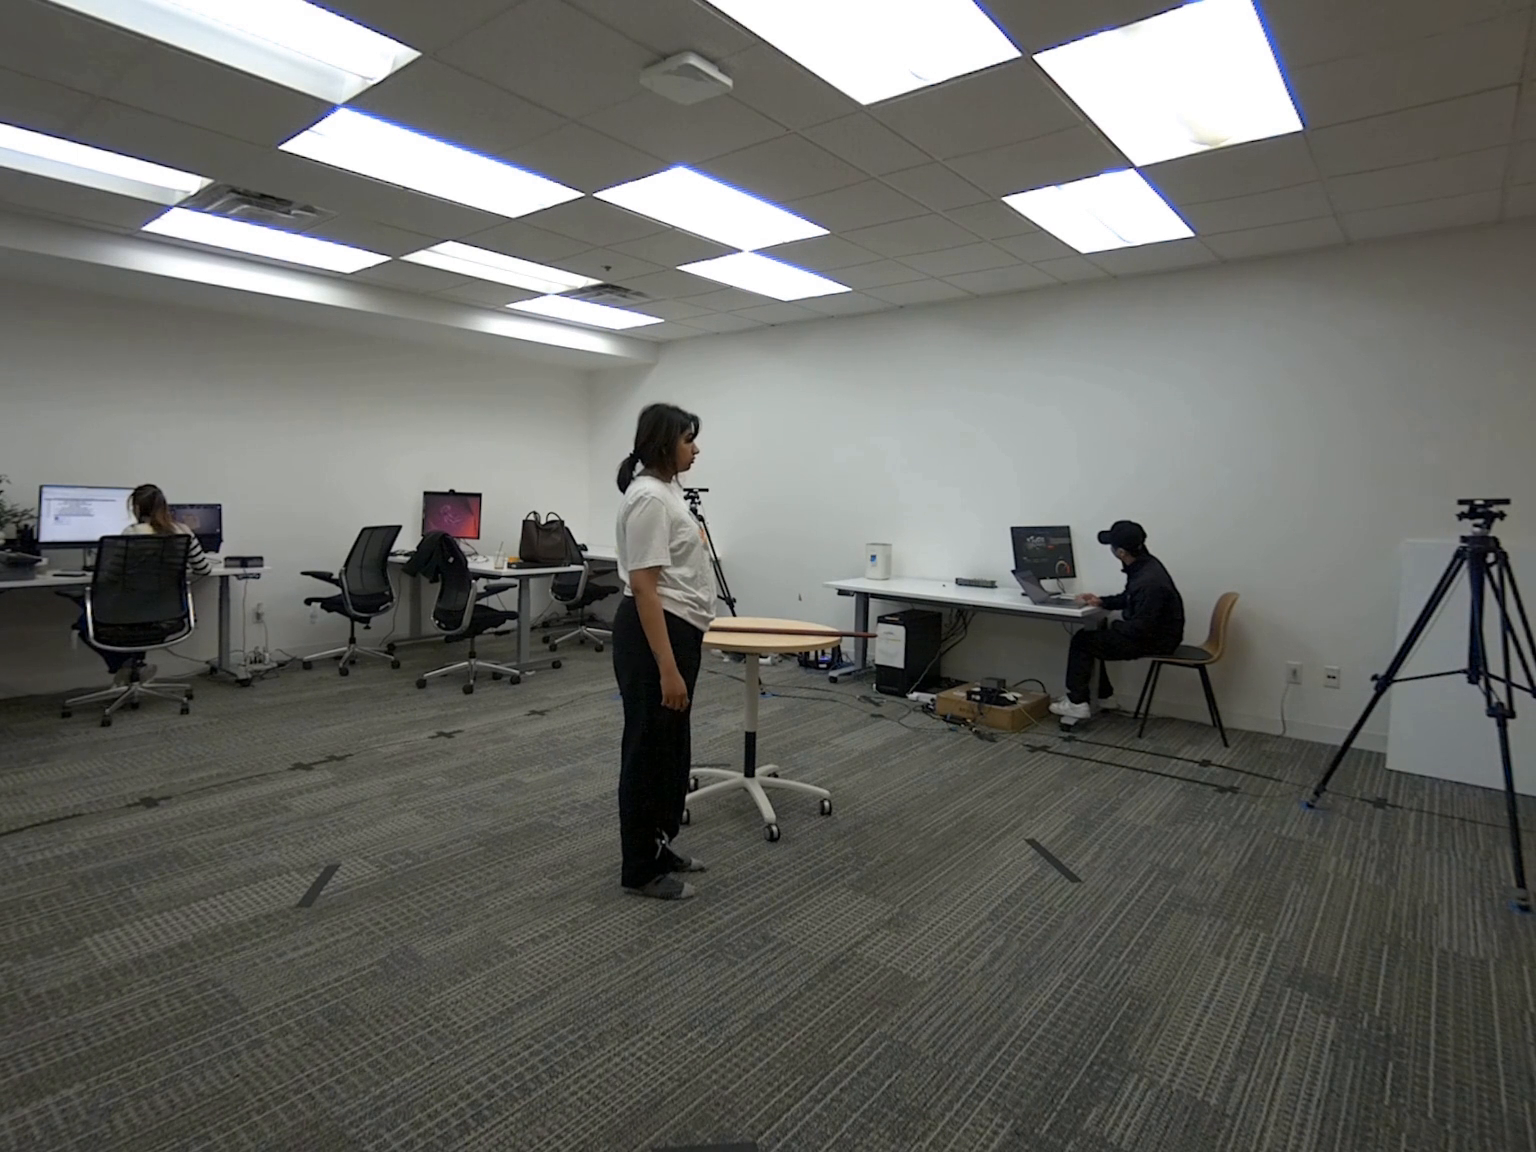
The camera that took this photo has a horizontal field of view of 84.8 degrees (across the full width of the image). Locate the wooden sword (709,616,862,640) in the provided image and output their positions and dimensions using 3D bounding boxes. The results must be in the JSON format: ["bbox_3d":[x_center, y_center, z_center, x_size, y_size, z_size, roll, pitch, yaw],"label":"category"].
[{"bbox_3d":[-0.154,0.210,3.598,1.029,0.024,0.050,3,-19,4],"label":"wooden sword"}]
